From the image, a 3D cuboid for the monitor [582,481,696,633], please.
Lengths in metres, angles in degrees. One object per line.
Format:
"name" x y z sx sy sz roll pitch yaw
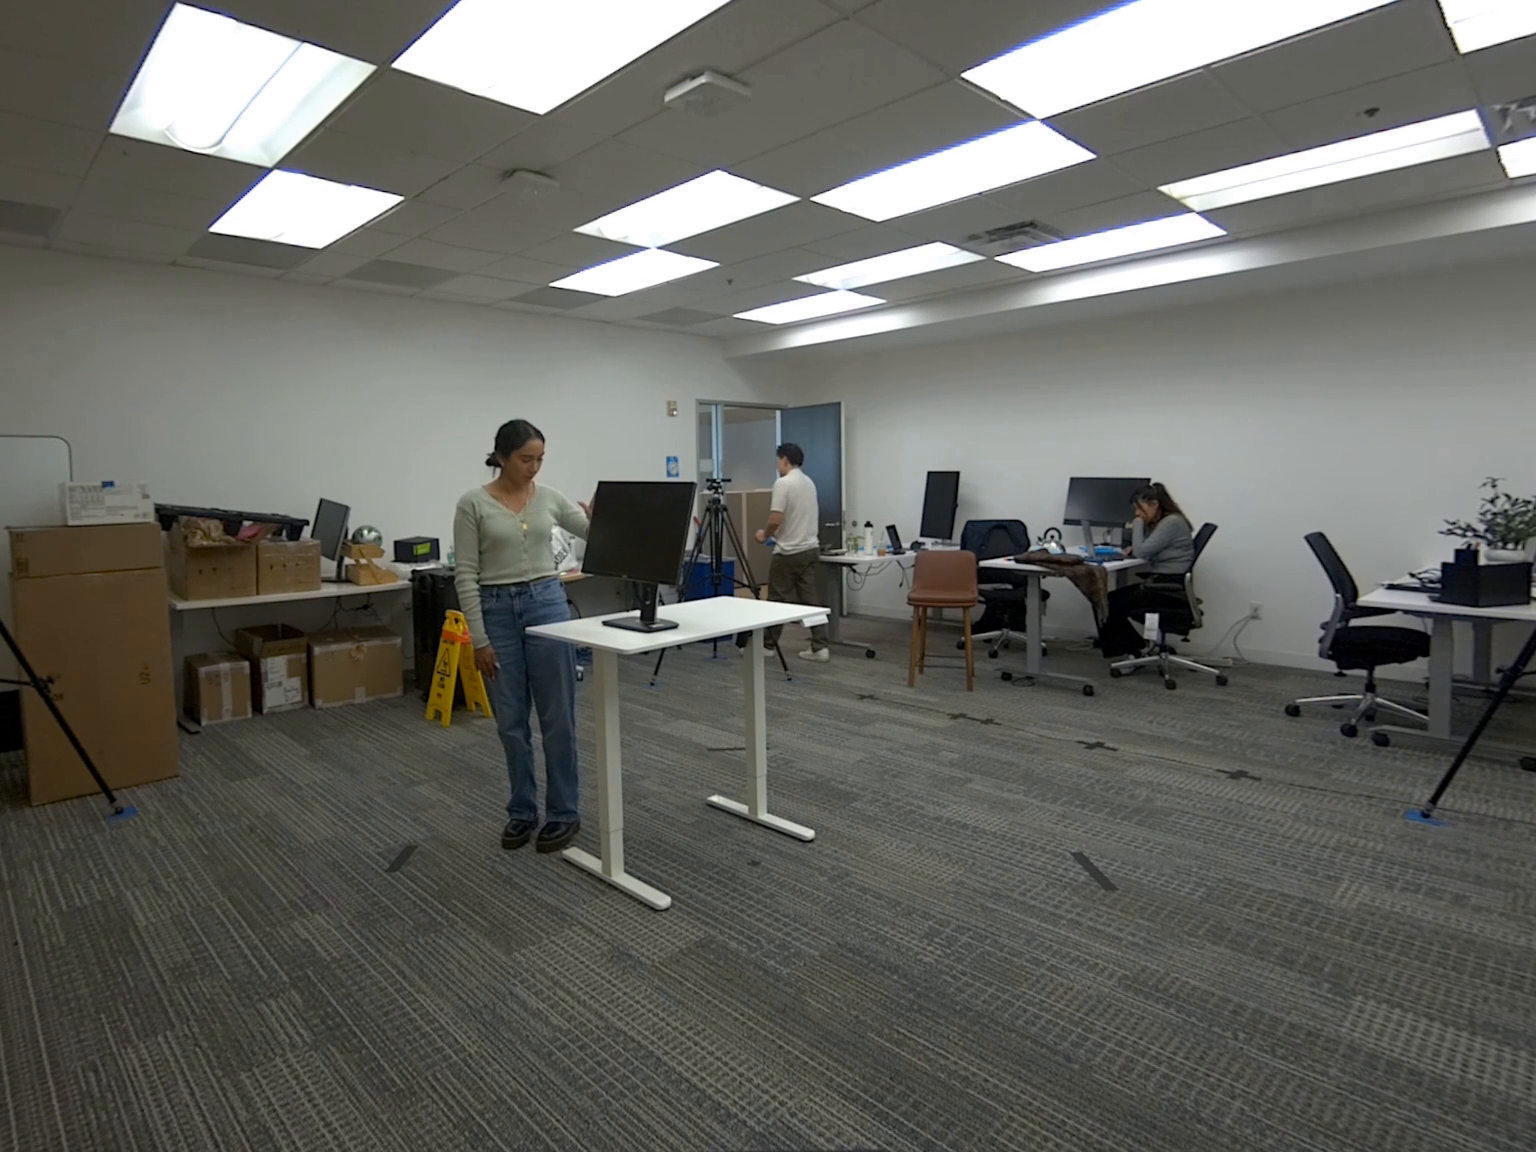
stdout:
"monitor" -0.433 -0.072 3.039 0.182 0.522 0.556 0 3 -45
